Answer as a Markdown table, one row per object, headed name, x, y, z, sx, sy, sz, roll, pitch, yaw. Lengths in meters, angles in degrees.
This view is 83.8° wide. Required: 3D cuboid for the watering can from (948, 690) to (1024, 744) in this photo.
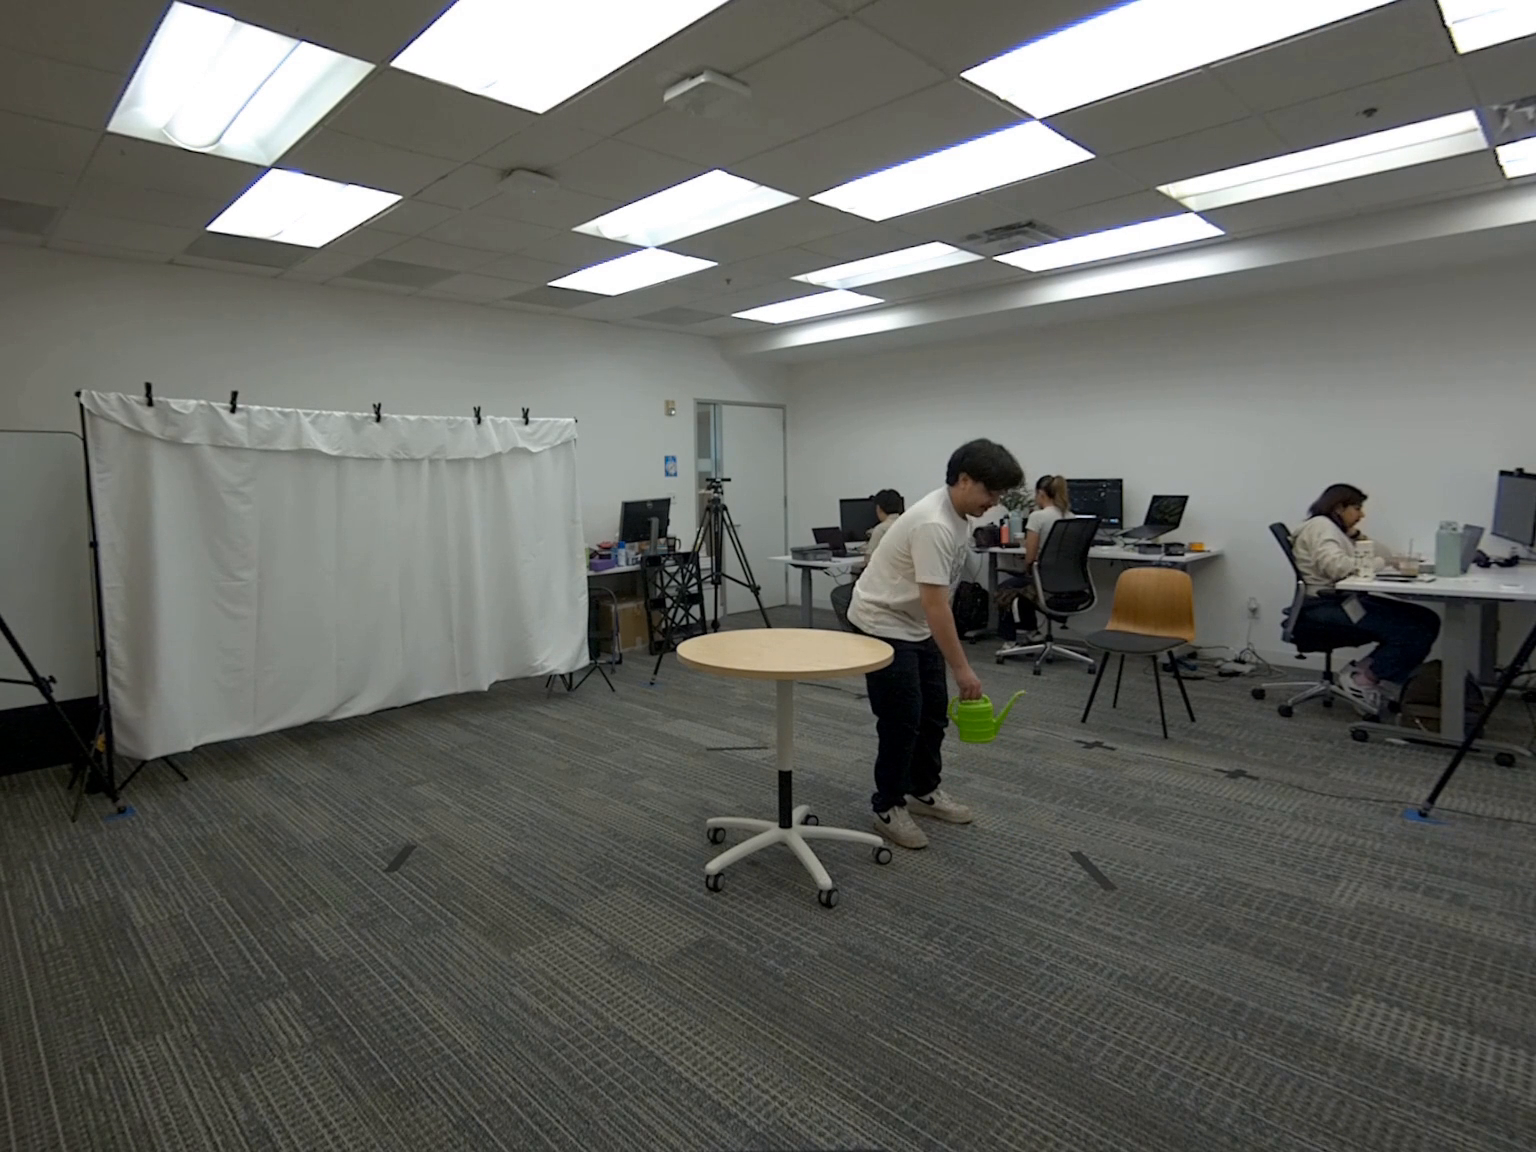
| name | x | y | z | sx | sy | sz | roll | pitch | yaw |
| --- | --- | --- | --- | --- | --- | --- | --- | --- | --- |
| watering can | 0.820 | 0.529 | 3.146 | 0.284 | 0.175 | 0.096 | -3 | 8 | 24 |
